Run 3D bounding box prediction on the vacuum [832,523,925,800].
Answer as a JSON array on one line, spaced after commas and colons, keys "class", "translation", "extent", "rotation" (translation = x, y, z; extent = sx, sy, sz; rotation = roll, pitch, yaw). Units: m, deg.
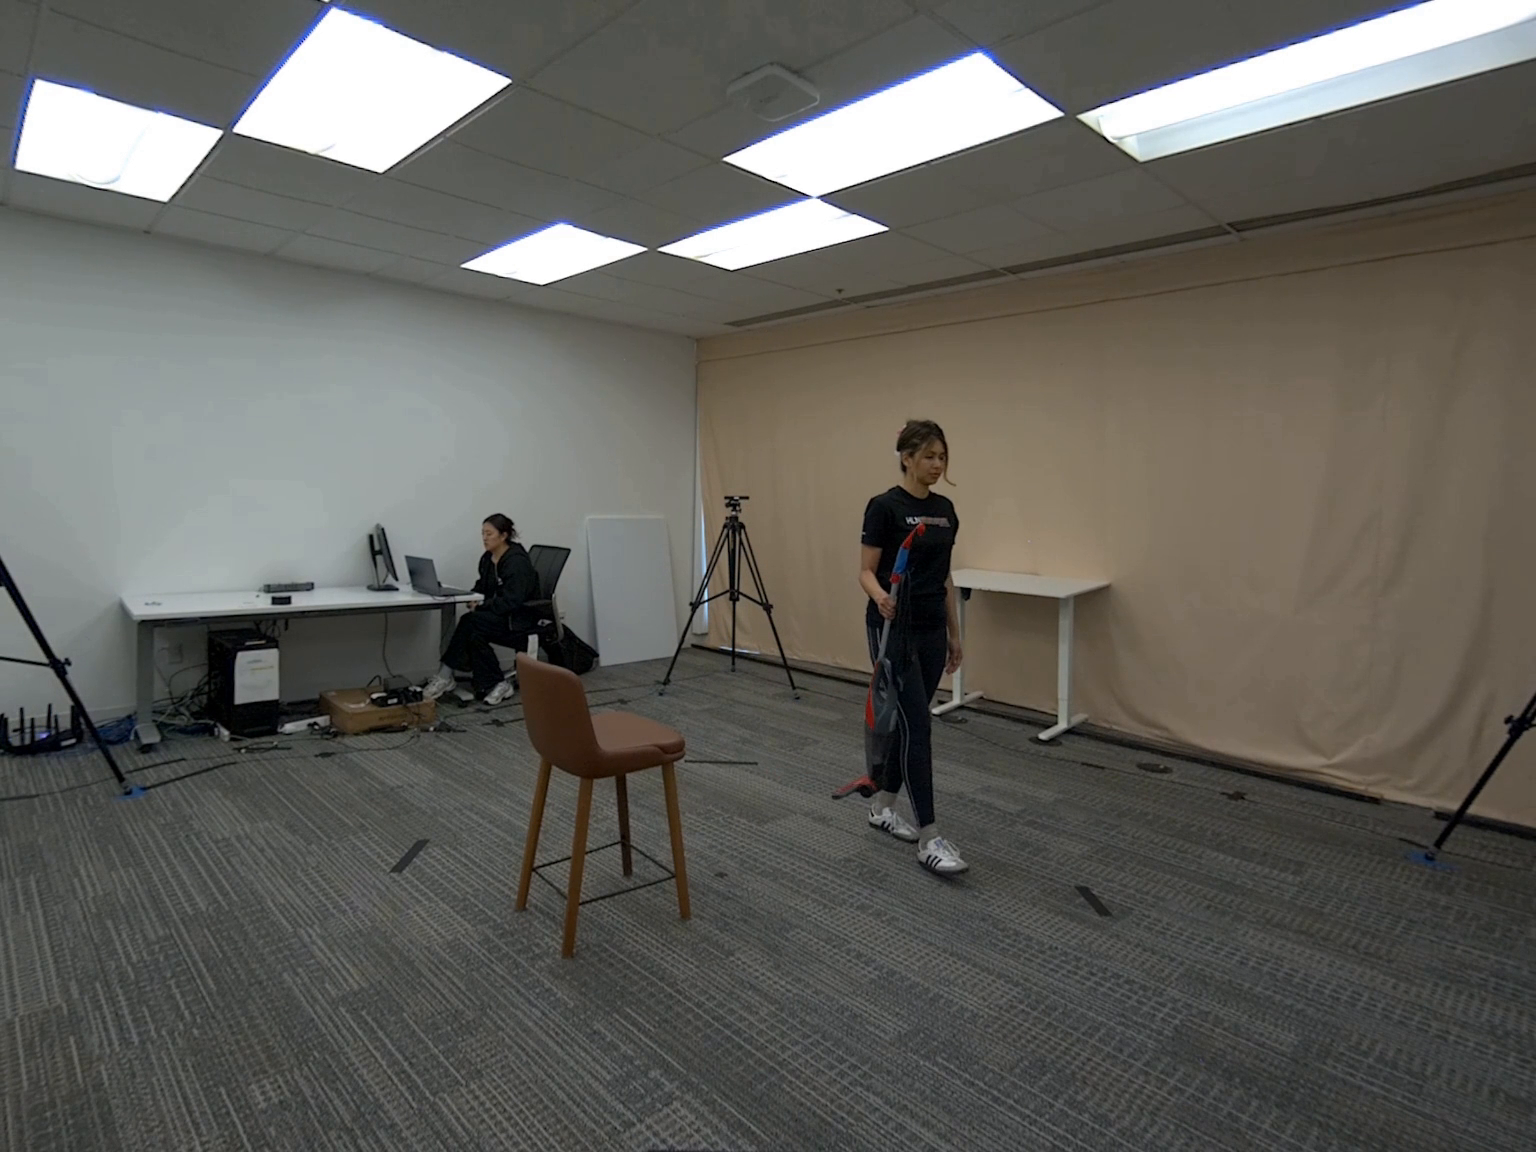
[{"class": "vacuum", "translation": [0.446, 0.331, 3.103], "extent": [0.148, 1.041, 0.247], "rotation": [22, 17, 39]}]
